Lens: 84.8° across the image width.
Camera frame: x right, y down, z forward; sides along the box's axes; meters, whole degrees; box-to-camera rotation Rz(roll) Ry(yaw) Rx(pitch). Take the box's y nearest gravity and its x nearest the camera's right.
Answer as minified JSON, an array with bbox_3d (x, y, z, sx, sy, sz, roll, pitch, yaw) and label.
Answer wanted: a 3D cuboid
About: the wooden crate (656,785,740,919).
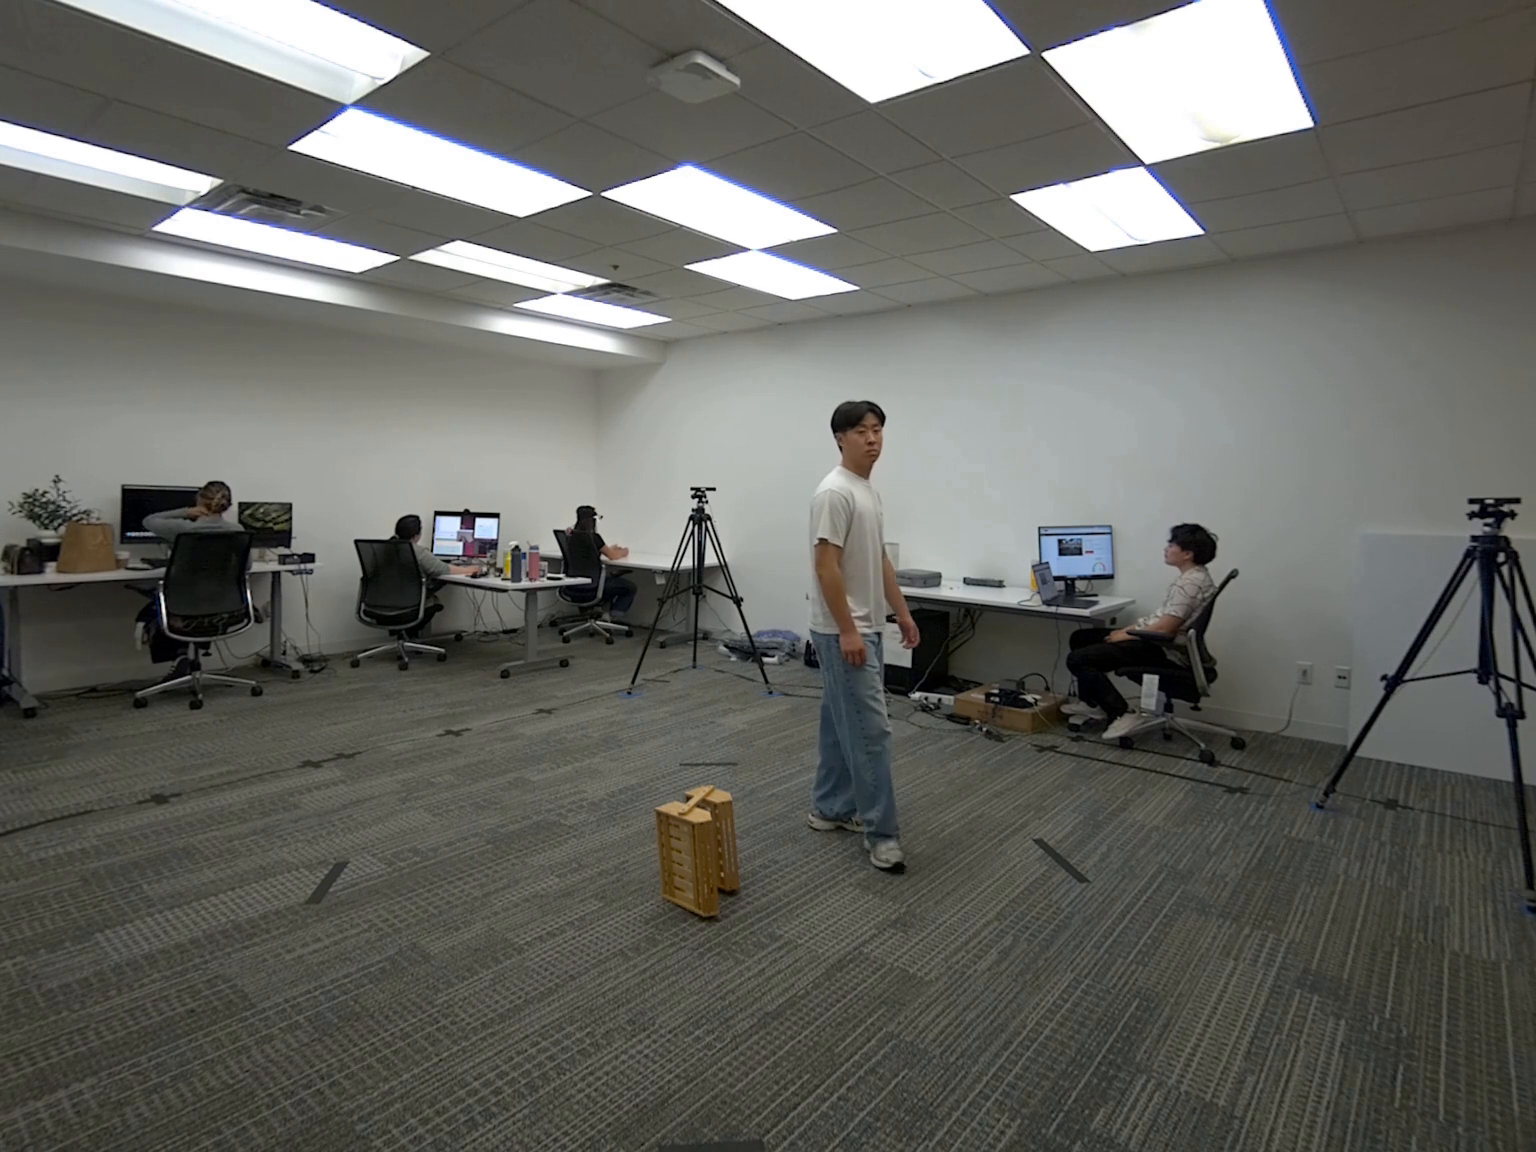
[{"bbox_3d":[-0.219,0.918,2.893,0.266,0.324,0.311,-8,4,-43],"label":"wooden crate"}]
